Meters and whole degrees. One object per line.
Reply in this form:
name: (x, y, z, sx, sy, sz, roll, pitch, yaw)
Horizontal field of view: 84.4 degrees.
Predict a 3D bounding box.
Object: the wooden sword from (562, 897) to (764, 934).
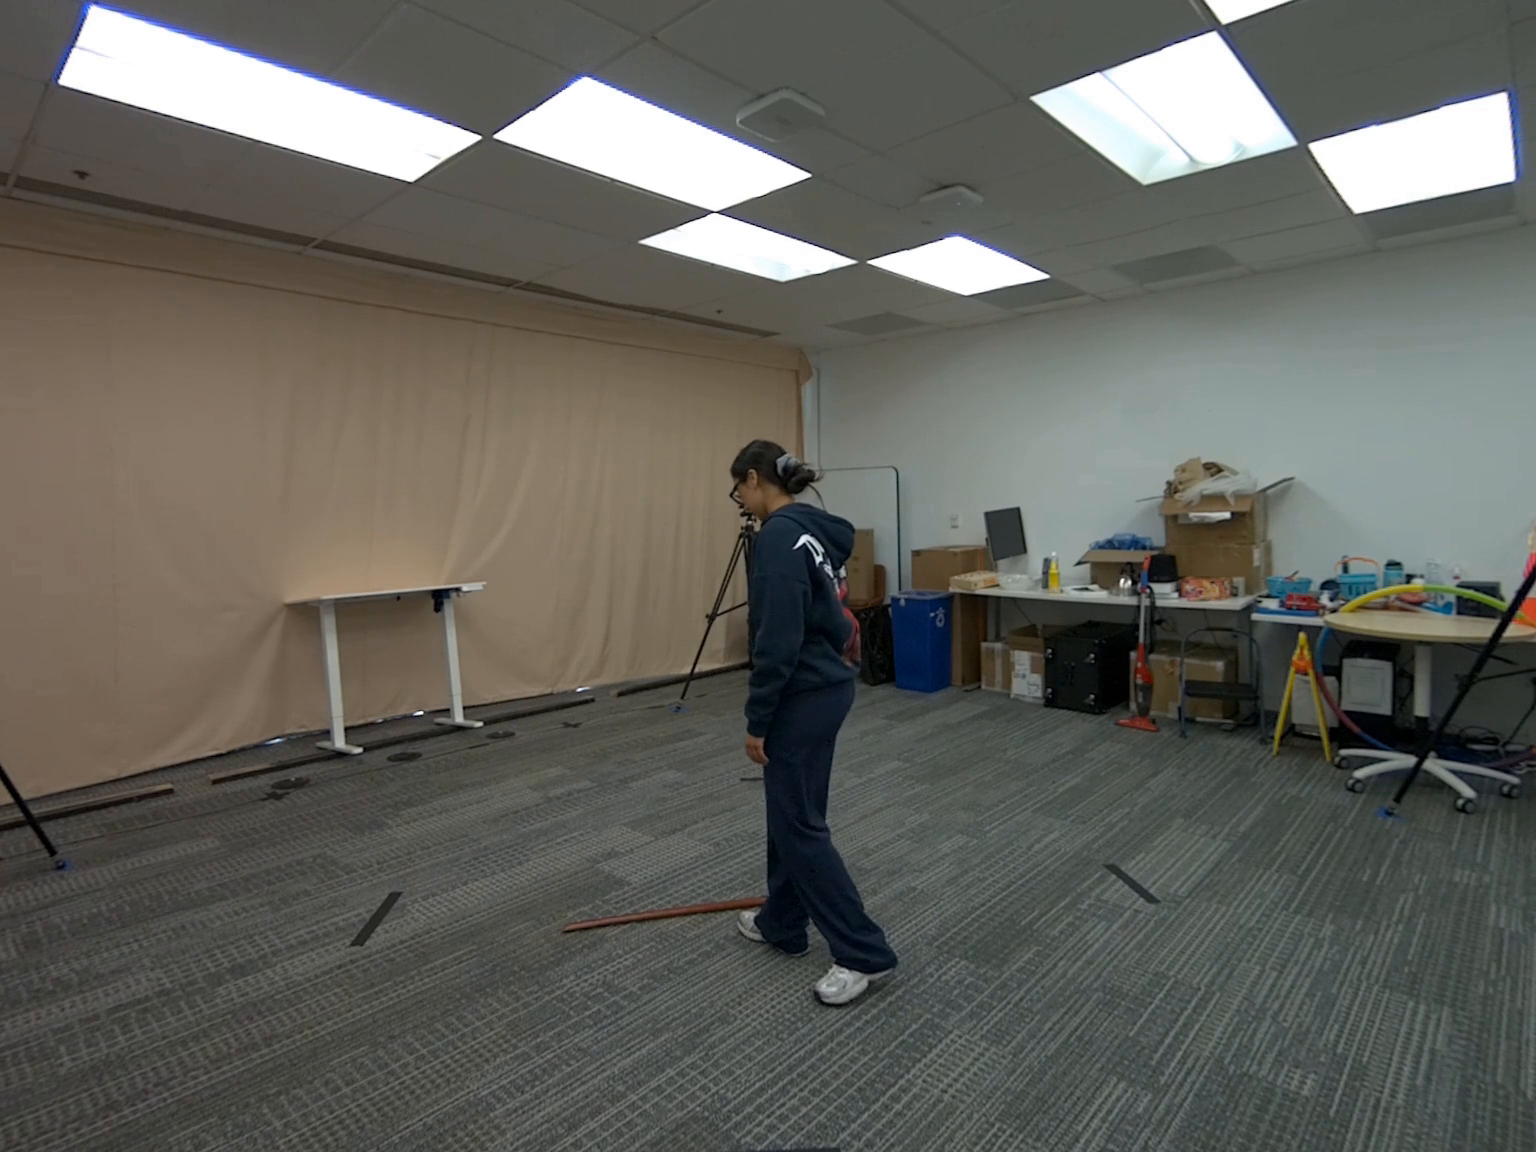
wooden sword: (-0.183, 1.132, 2.892, 1.013, 0.024, 0.052, -2, 25, -11)
